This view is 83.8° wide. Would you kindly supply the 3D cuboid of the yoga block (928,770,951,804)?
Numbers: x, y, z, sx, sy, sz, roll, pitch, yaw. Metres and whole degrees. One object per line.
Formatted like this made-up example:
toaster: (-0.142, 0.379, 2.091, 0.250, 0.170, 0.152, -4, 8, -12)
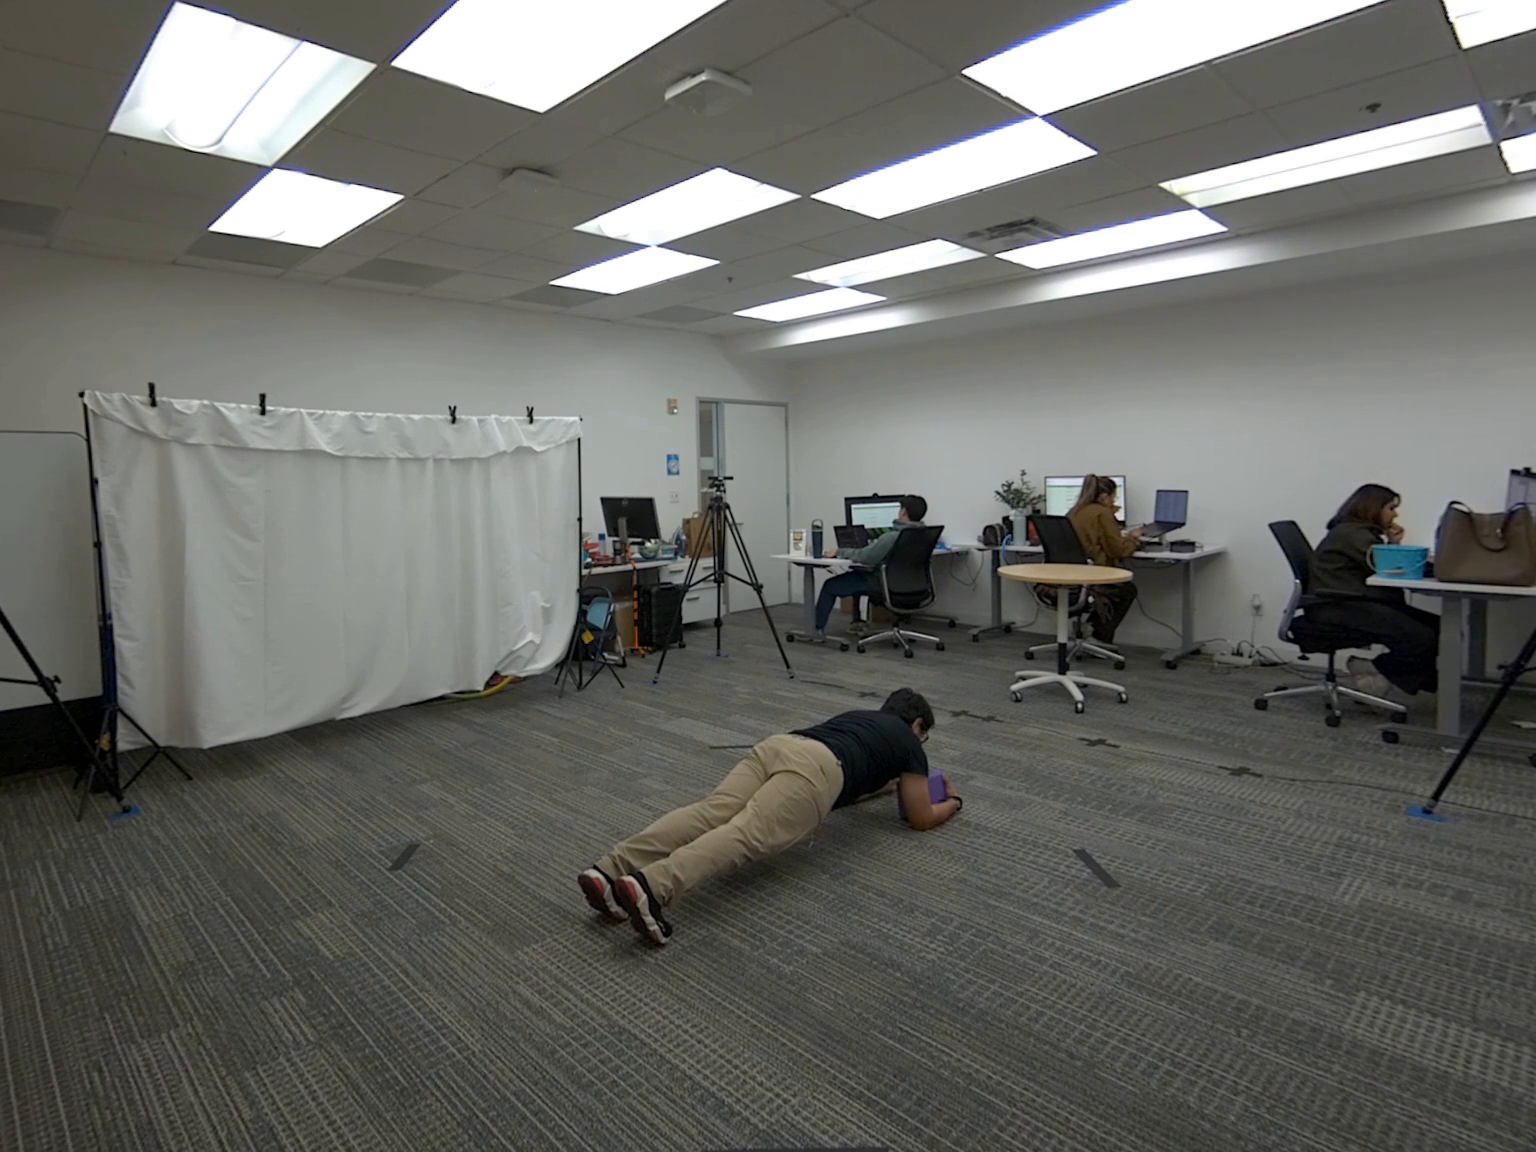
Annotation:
yoga block: (0.643, 0.899, 3.514, 0.223, 0.149, 0.078, -3, 0, -37)
